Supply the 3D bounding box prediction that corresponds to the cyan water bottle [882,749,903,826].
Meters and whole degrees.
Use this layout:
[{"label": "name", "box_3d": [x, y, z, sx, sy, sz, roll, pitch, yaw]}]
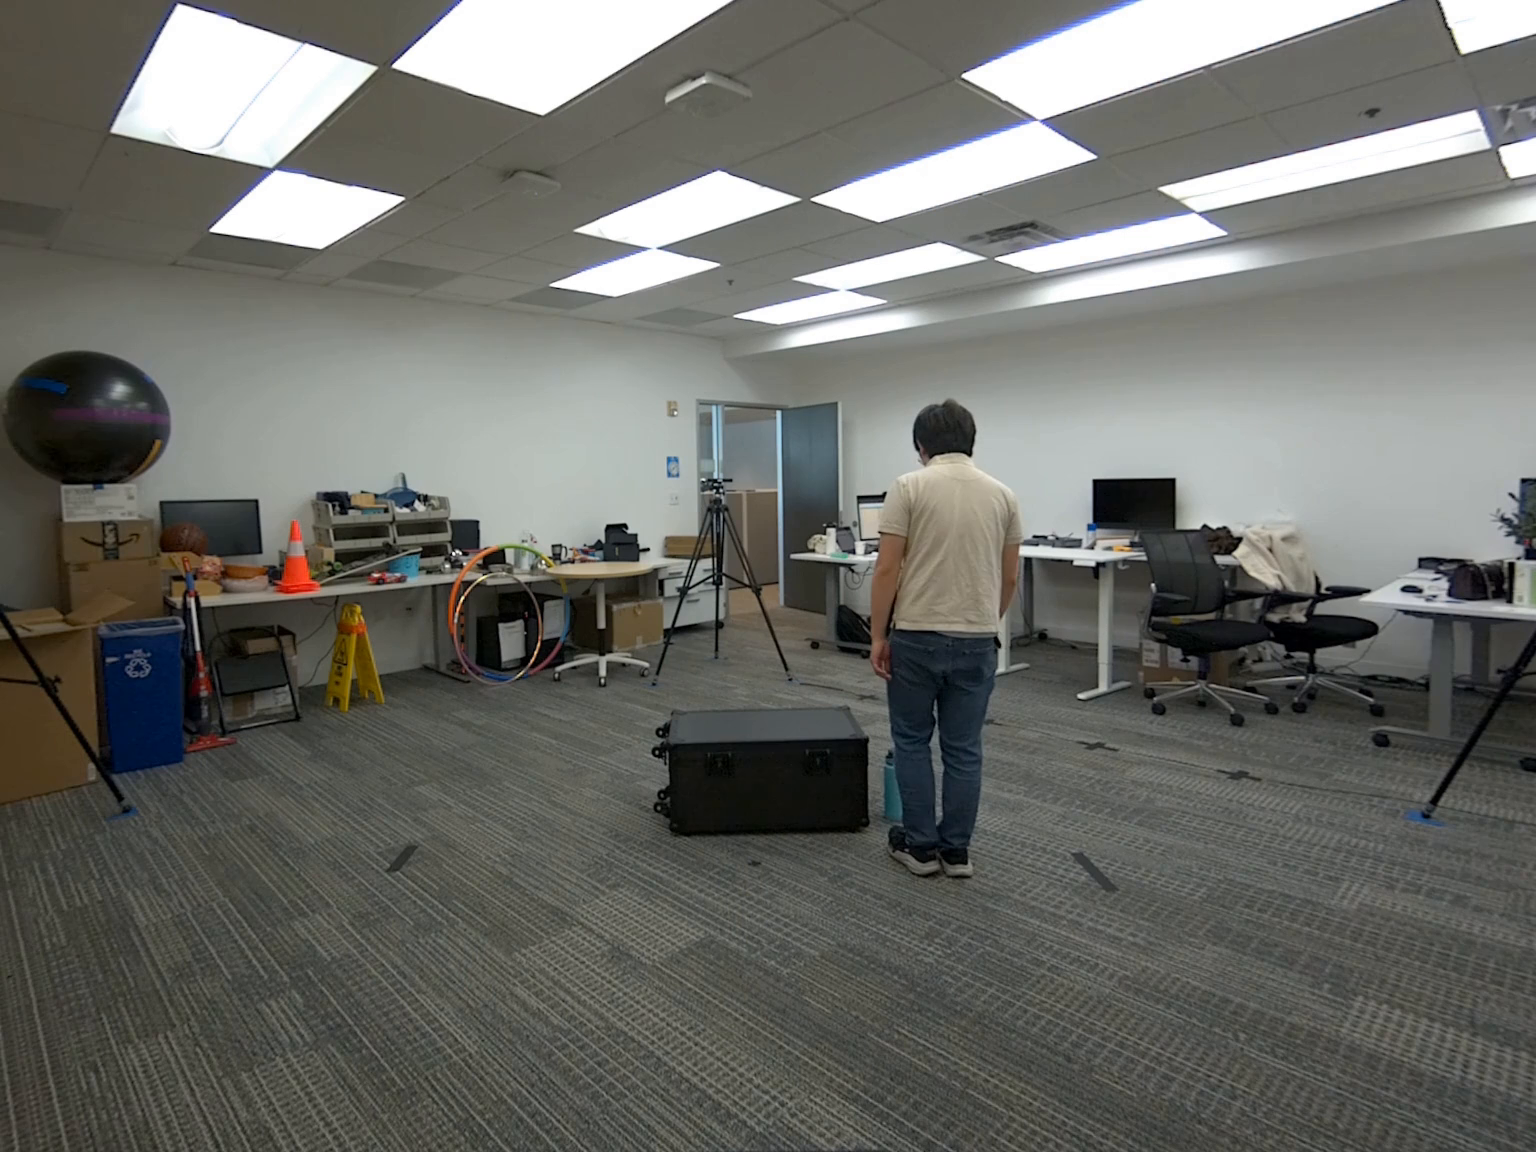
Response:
[{"label": "cyan water bottle", "box_3d": [0.514, 0.848, 3.494, 0.092, 0.282, 0.093, -2, 3, -2]}]
